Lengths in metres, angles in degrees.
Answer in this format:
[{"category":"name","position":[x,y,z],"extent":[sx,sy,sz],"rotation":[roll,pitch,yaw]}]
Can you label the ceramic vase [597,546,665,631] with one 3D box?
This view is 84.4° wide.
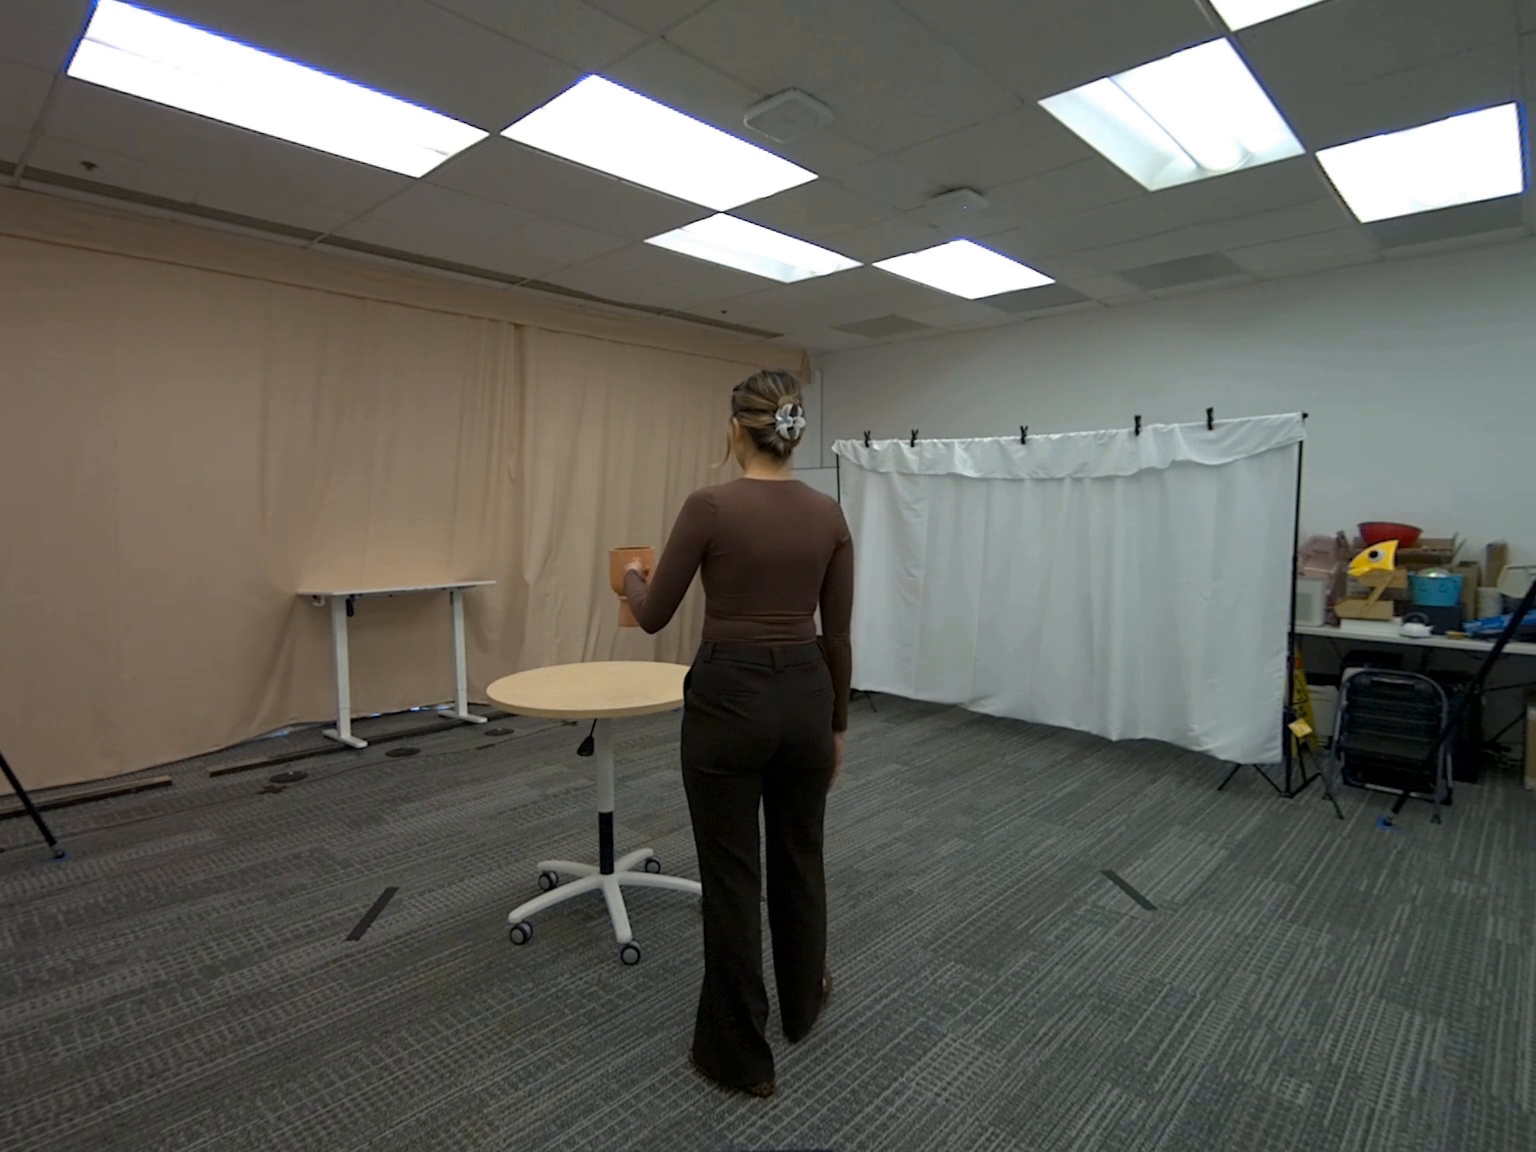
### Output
[{"category":"ceramic vase","position":[-0.383,0.030,2.405],"extent":[0.138,0.219,0.155],"rotation":[1,4,24]}]
